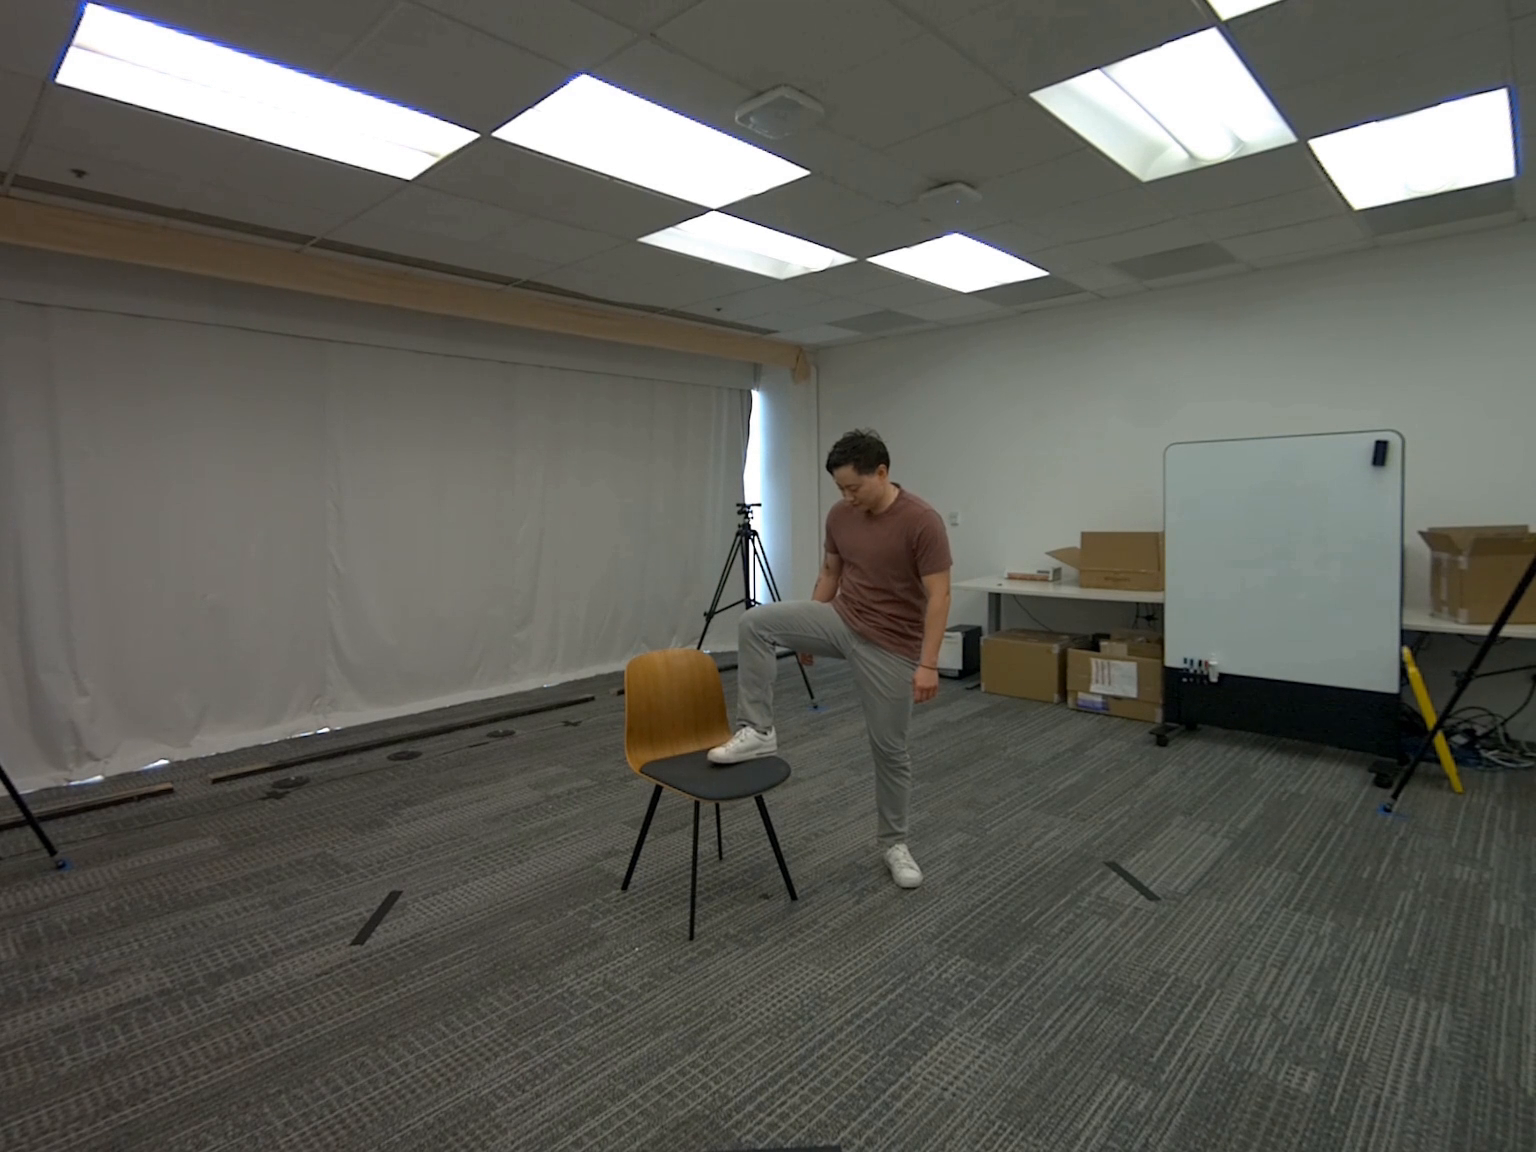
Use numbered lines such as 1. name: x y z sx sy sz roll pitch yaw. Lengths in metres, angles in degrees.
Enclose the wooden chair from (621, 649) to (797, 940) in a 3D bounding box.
1. wooden chair: -0.213 0.716 2.964 0.464 0.877 0.539 -3 0 -38
